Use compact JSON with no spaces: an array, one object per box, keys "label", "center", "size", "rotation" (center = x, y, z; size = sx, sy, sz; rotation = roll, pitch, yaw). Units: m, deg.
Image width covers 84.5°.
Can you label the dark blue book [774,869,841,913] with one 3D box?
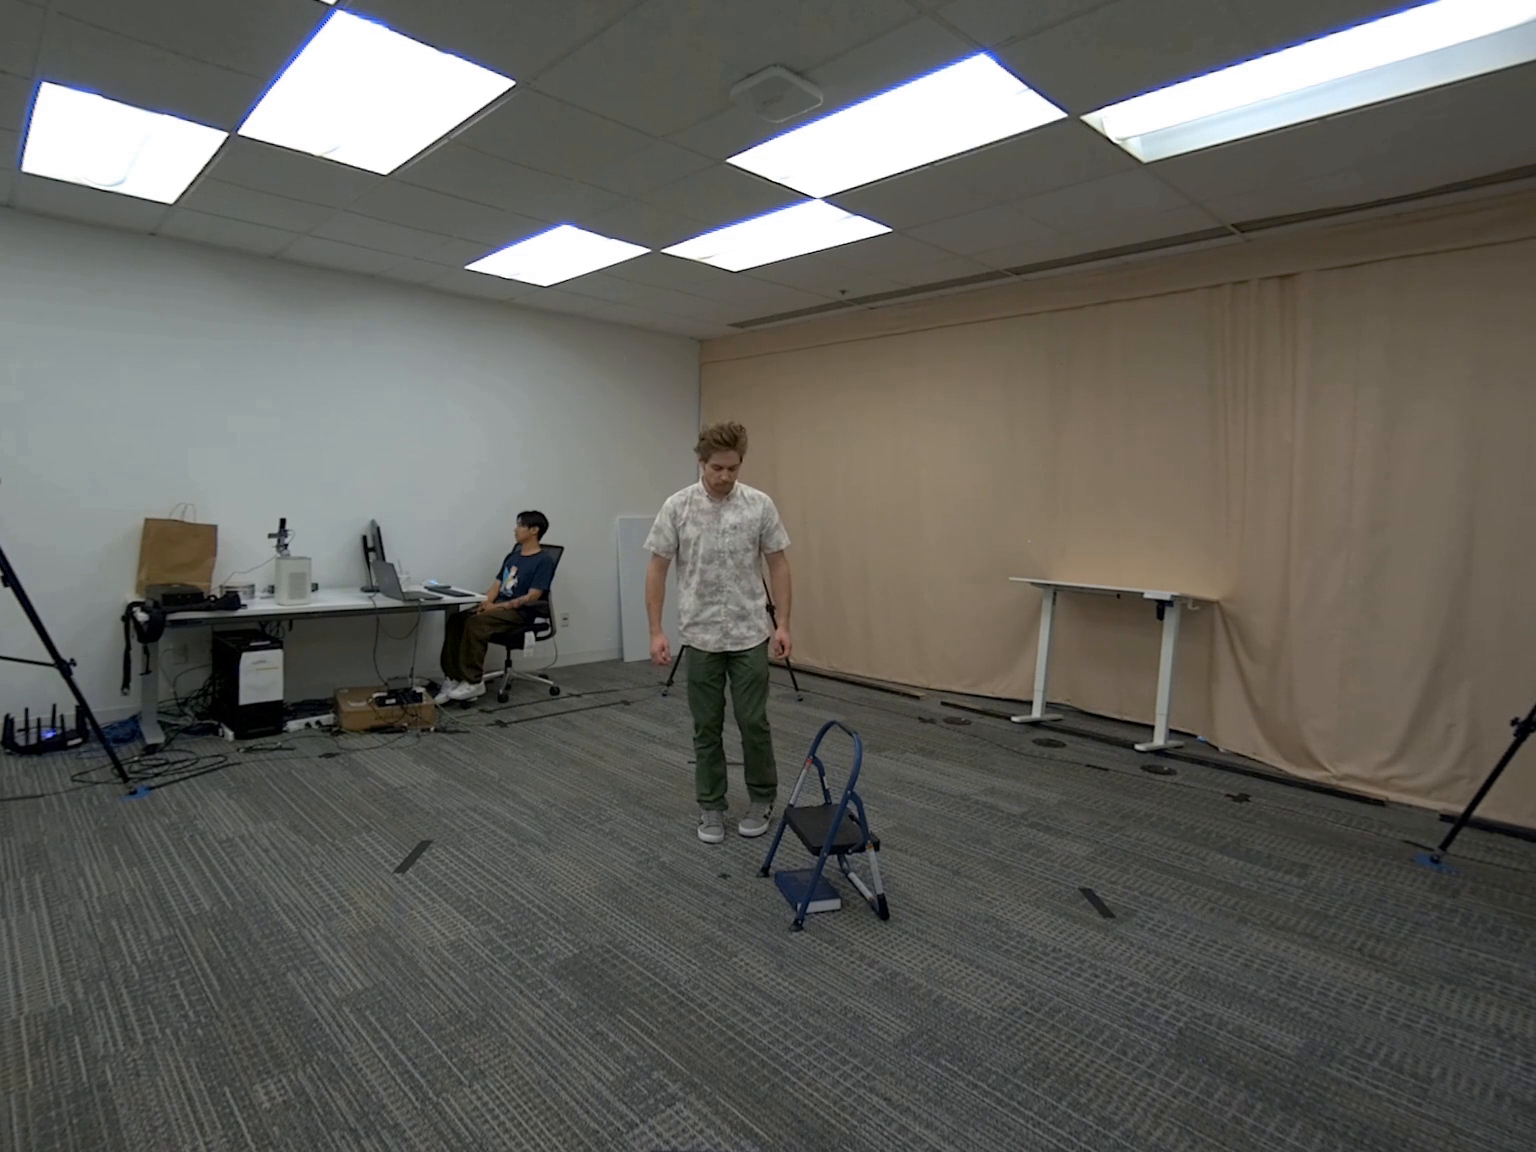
[{"label":"dark blue book","center":[0.140,1.105,2.946],"size":[0.161,0.045,0.249],"rotation":[-1,4,-17]}]
